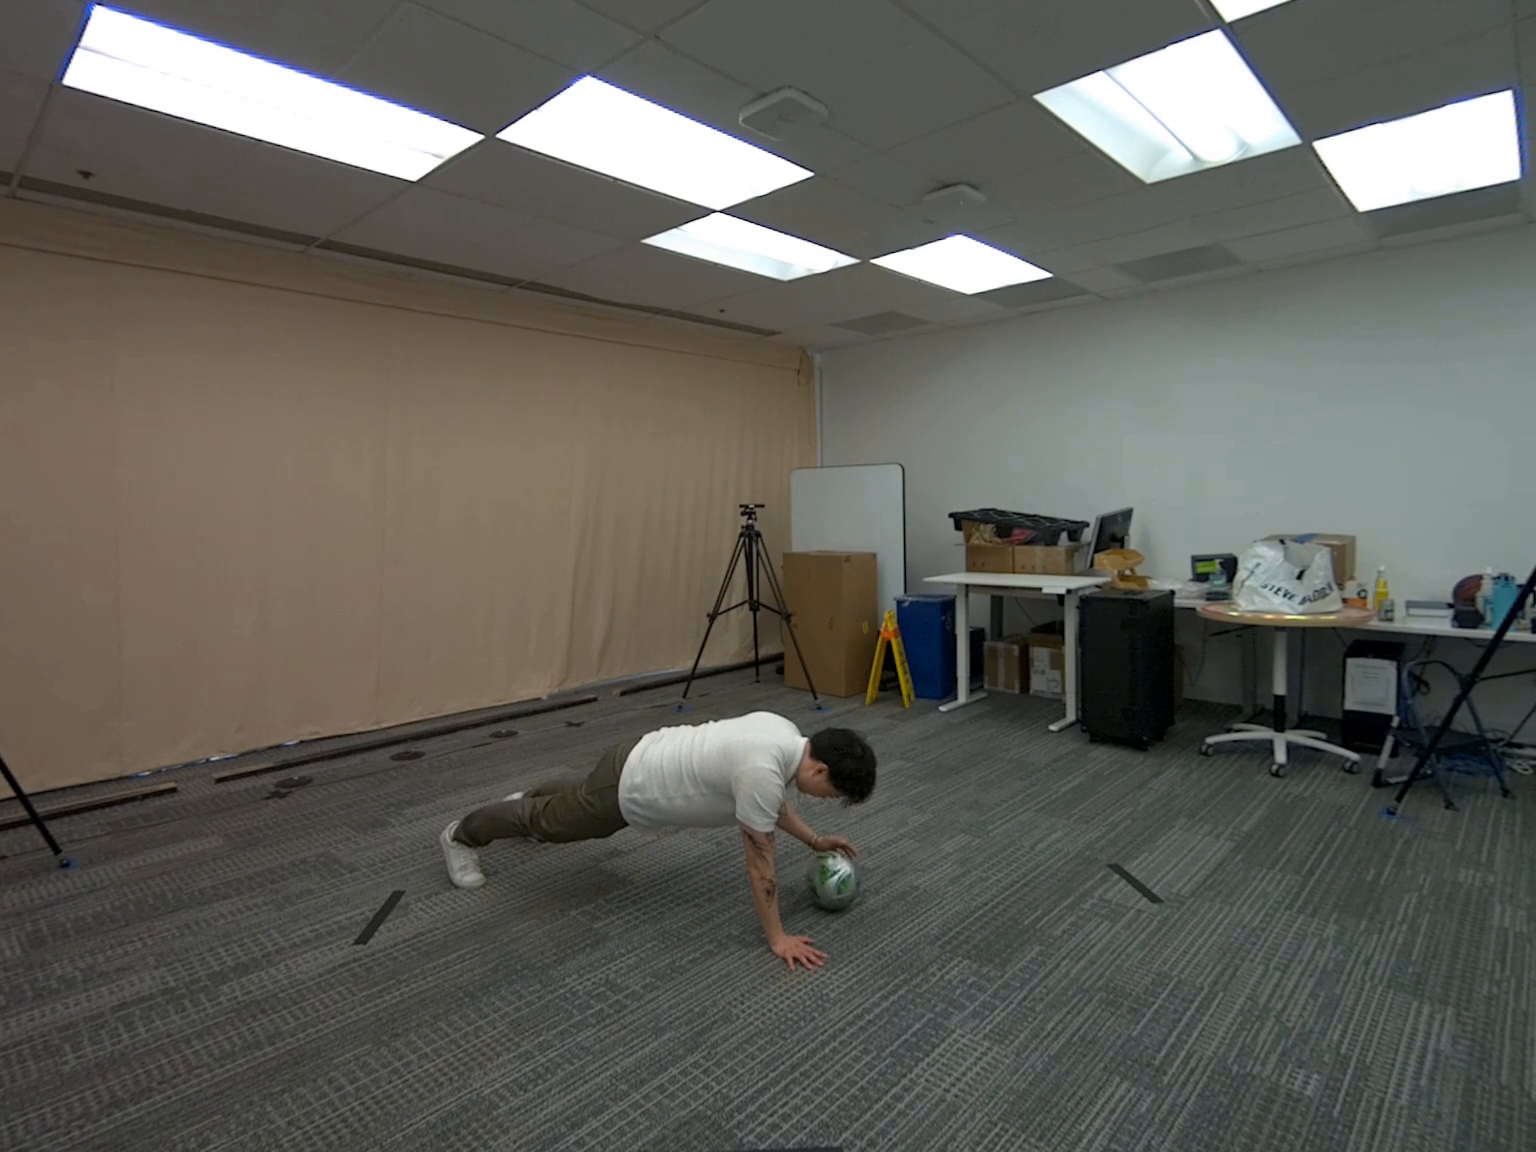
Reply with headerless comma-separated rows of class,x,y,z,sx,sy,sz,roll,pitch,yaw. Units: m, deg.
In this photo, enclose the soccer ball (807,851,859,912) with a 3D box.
soccer ball,0.224,1.051,2.891,0.187,0.187,0.188,-1,4,-2
